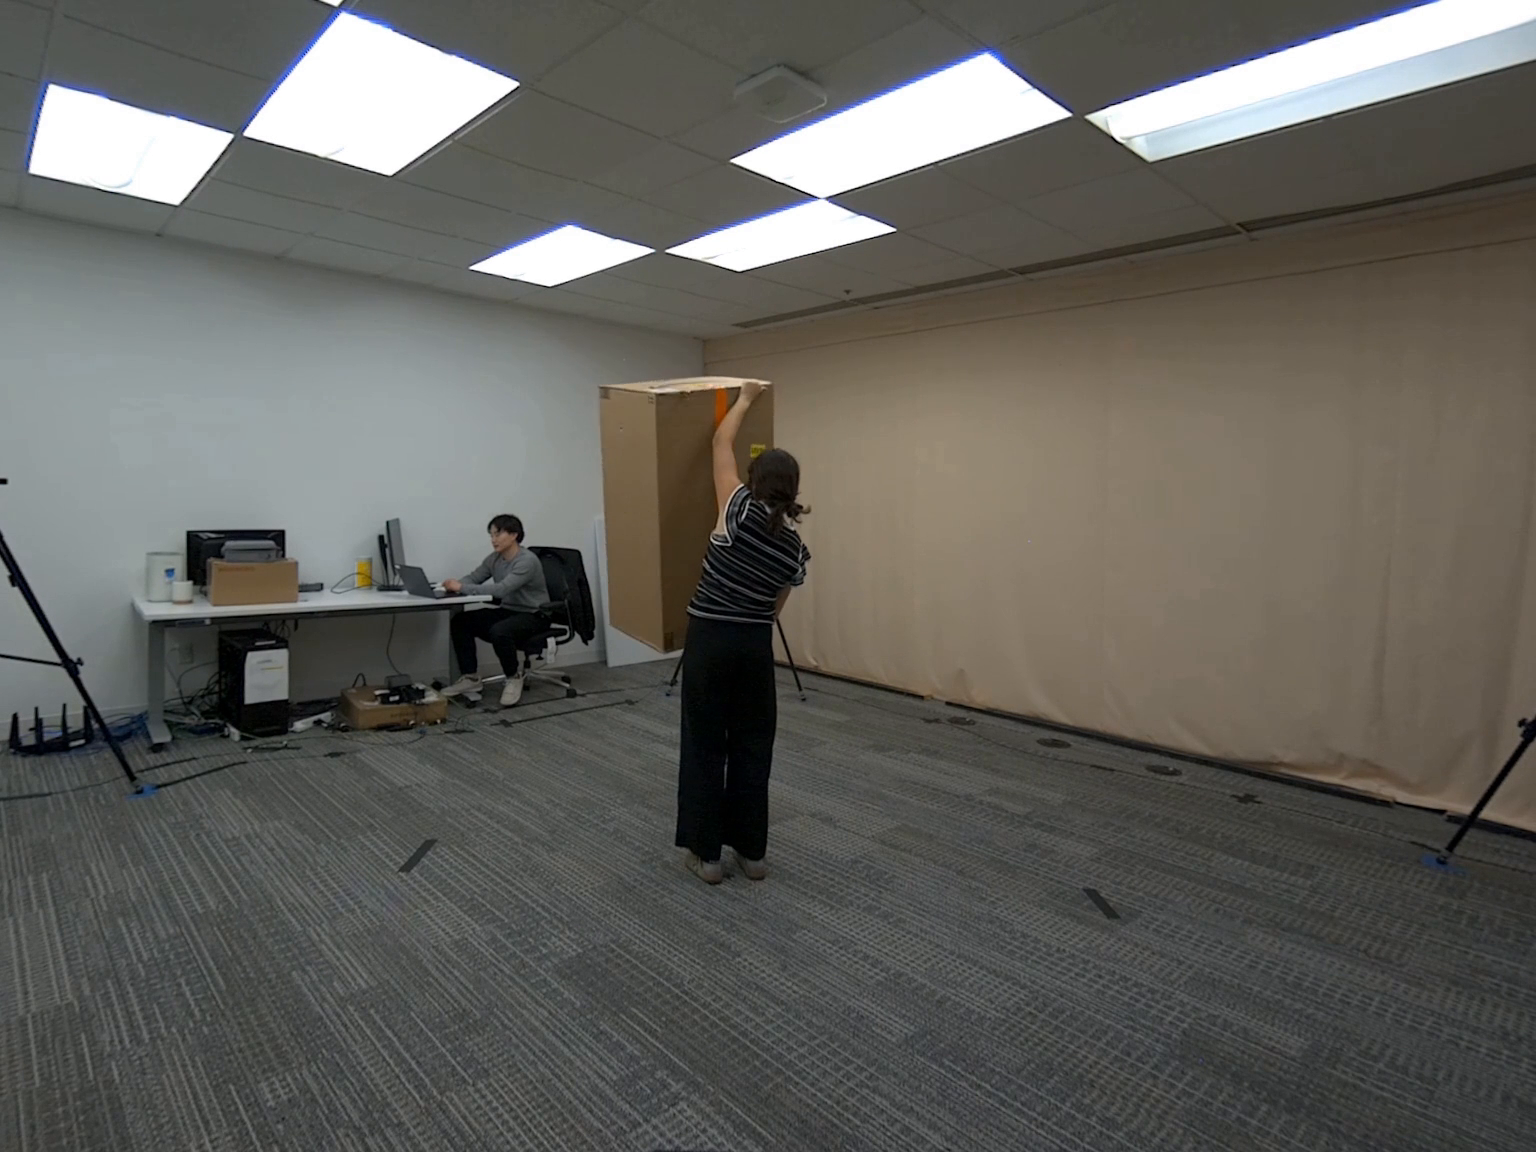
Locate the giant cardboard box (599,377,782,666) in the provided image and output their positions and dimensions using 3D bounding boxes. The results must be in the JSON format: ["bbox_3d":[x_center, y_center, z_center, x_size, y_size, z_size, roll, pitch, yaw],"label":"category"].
[{"bbox_3d":[-0.334,-0.278,3.500,0.567,1.014,0.439,-13,21,-37],"label":"giant cardboard box"}]
